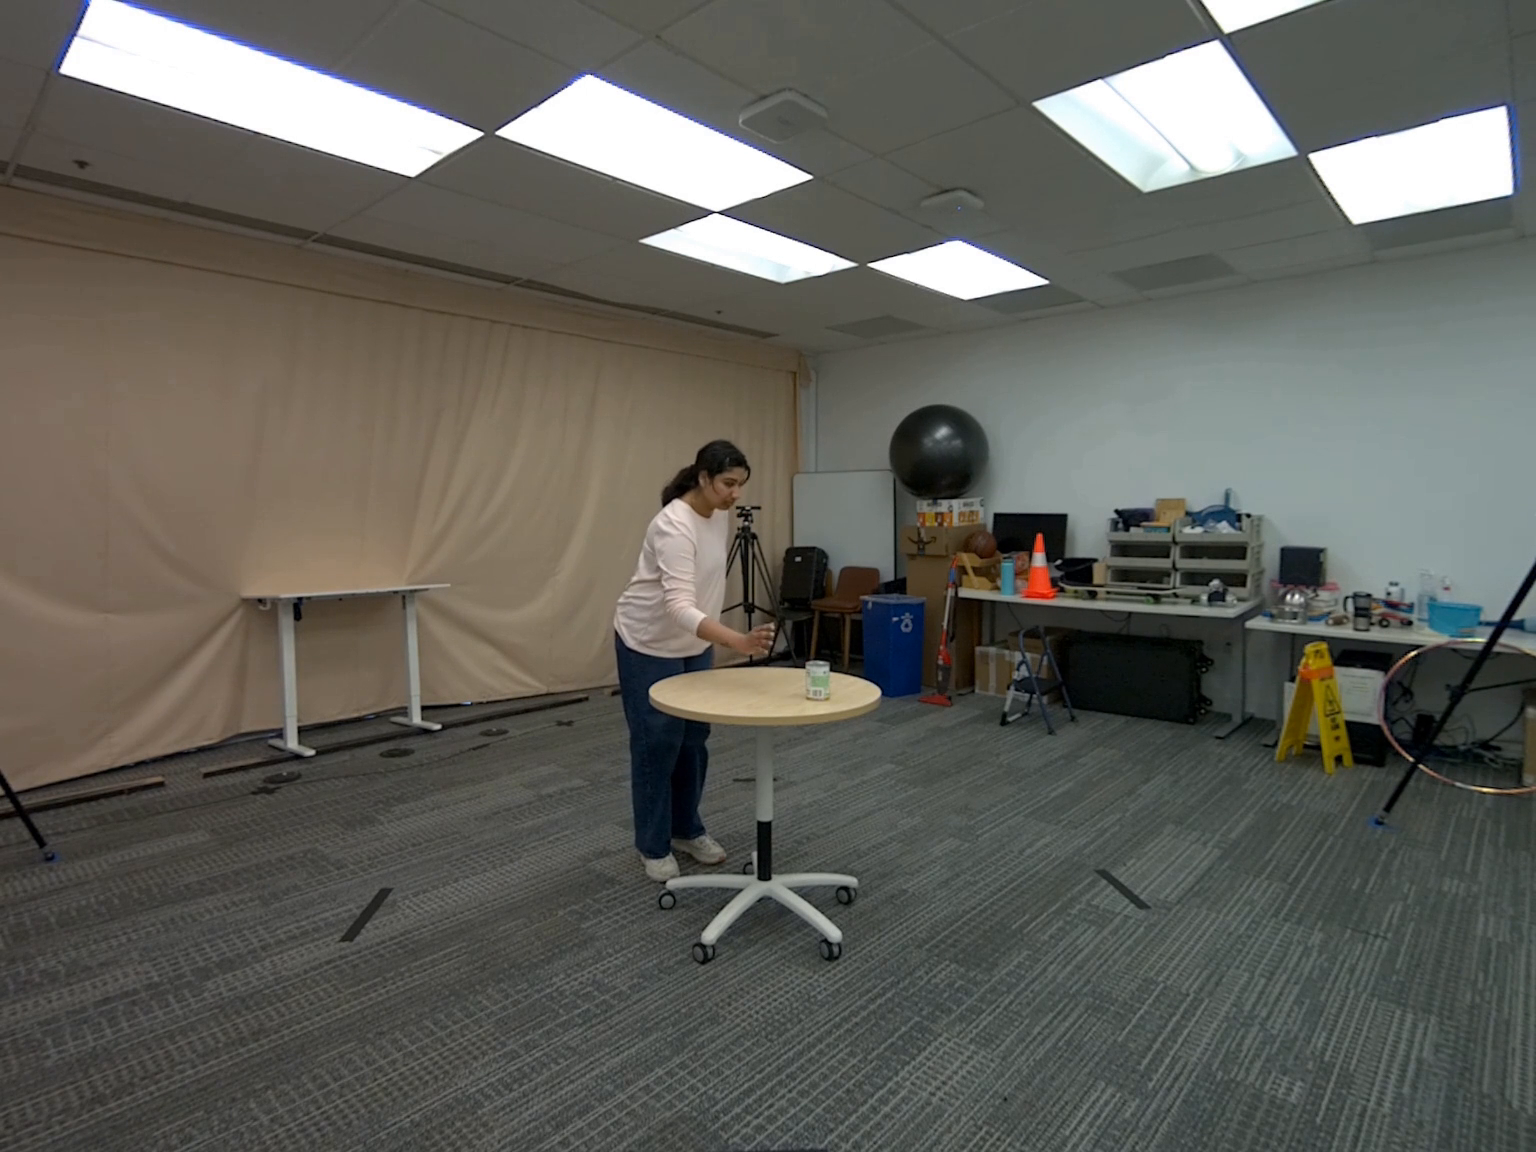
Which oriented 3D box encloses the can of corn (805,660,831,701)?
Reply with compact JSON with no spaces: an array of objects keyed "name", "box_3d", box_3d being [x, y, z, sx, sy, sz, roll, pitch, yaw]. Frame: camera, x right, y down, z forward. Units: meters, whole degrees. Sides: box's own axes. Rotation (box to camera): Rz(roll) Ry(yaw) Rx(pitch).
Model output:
[{"name":"can of corn","box_3d":[0.165,0.332,2.639,0.074,0.111,0.074,-1,4,-2]}]
